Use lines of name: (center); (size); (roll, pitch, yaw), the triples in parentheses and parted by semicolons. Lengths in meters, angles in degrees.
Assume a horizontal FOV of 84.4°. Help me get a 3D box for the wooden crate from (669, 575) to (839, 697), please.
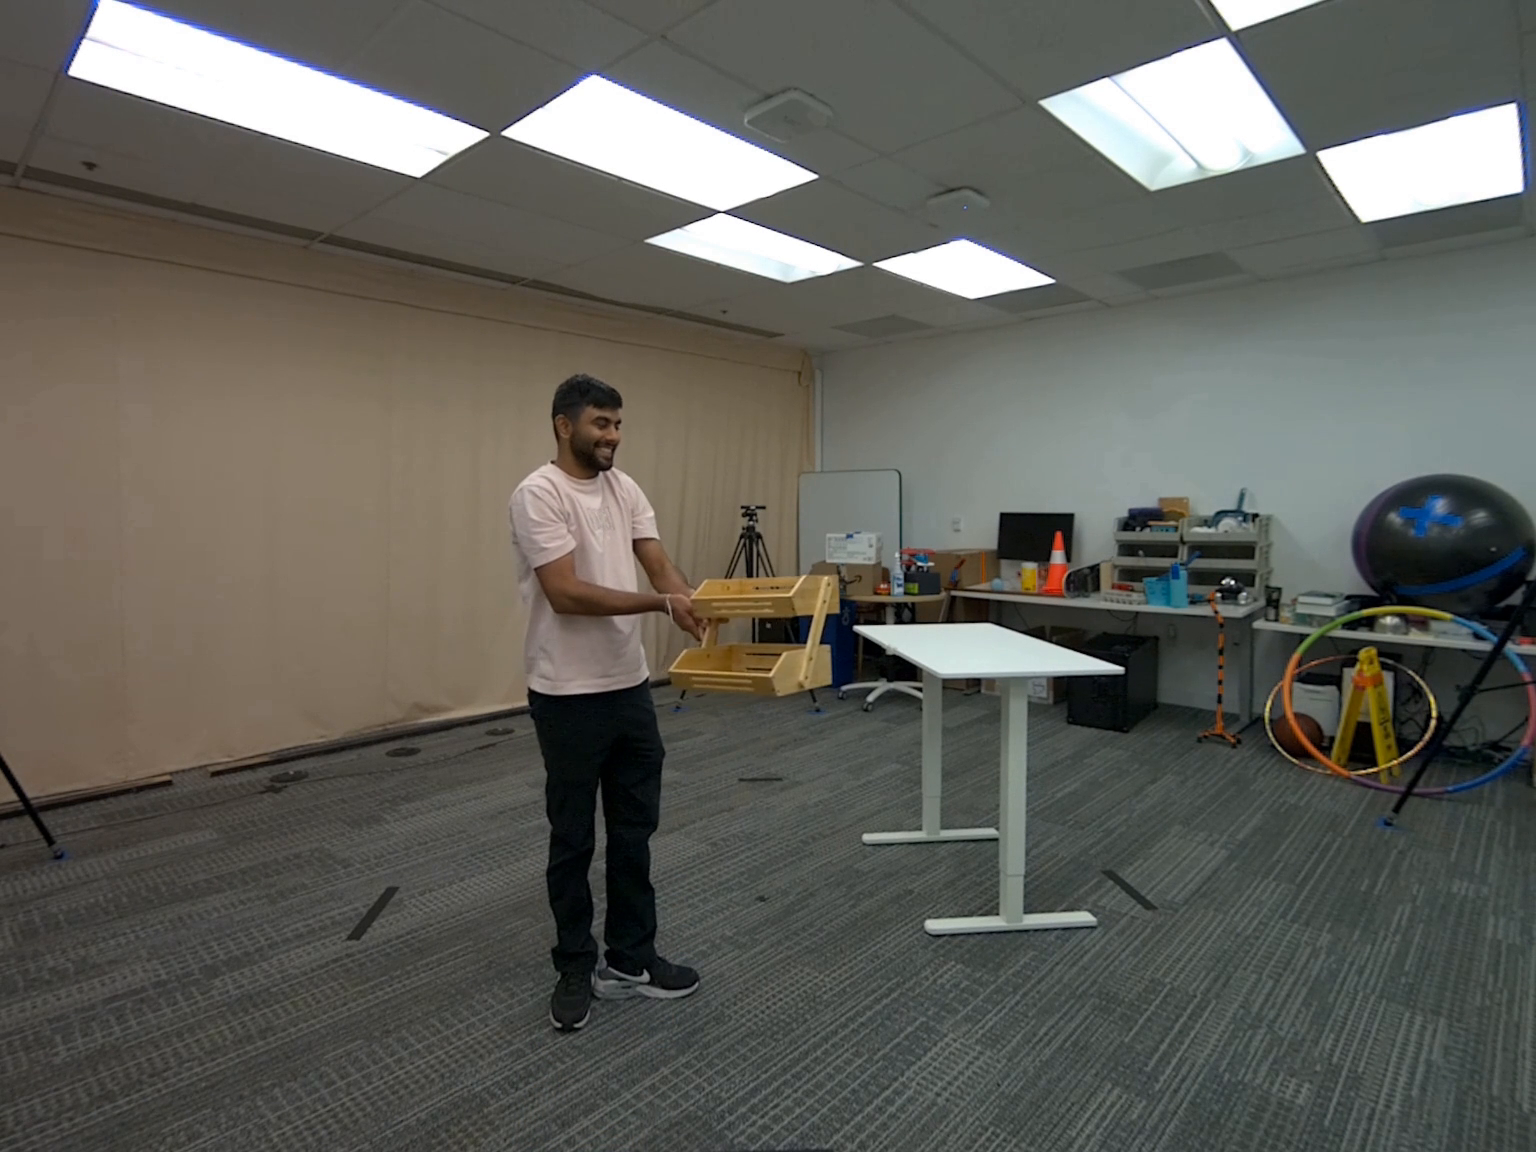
wooden crate: (-0.030, 0.134, 2.020); (0.334, 0.274, 0.293); (-3, -2, 35)
